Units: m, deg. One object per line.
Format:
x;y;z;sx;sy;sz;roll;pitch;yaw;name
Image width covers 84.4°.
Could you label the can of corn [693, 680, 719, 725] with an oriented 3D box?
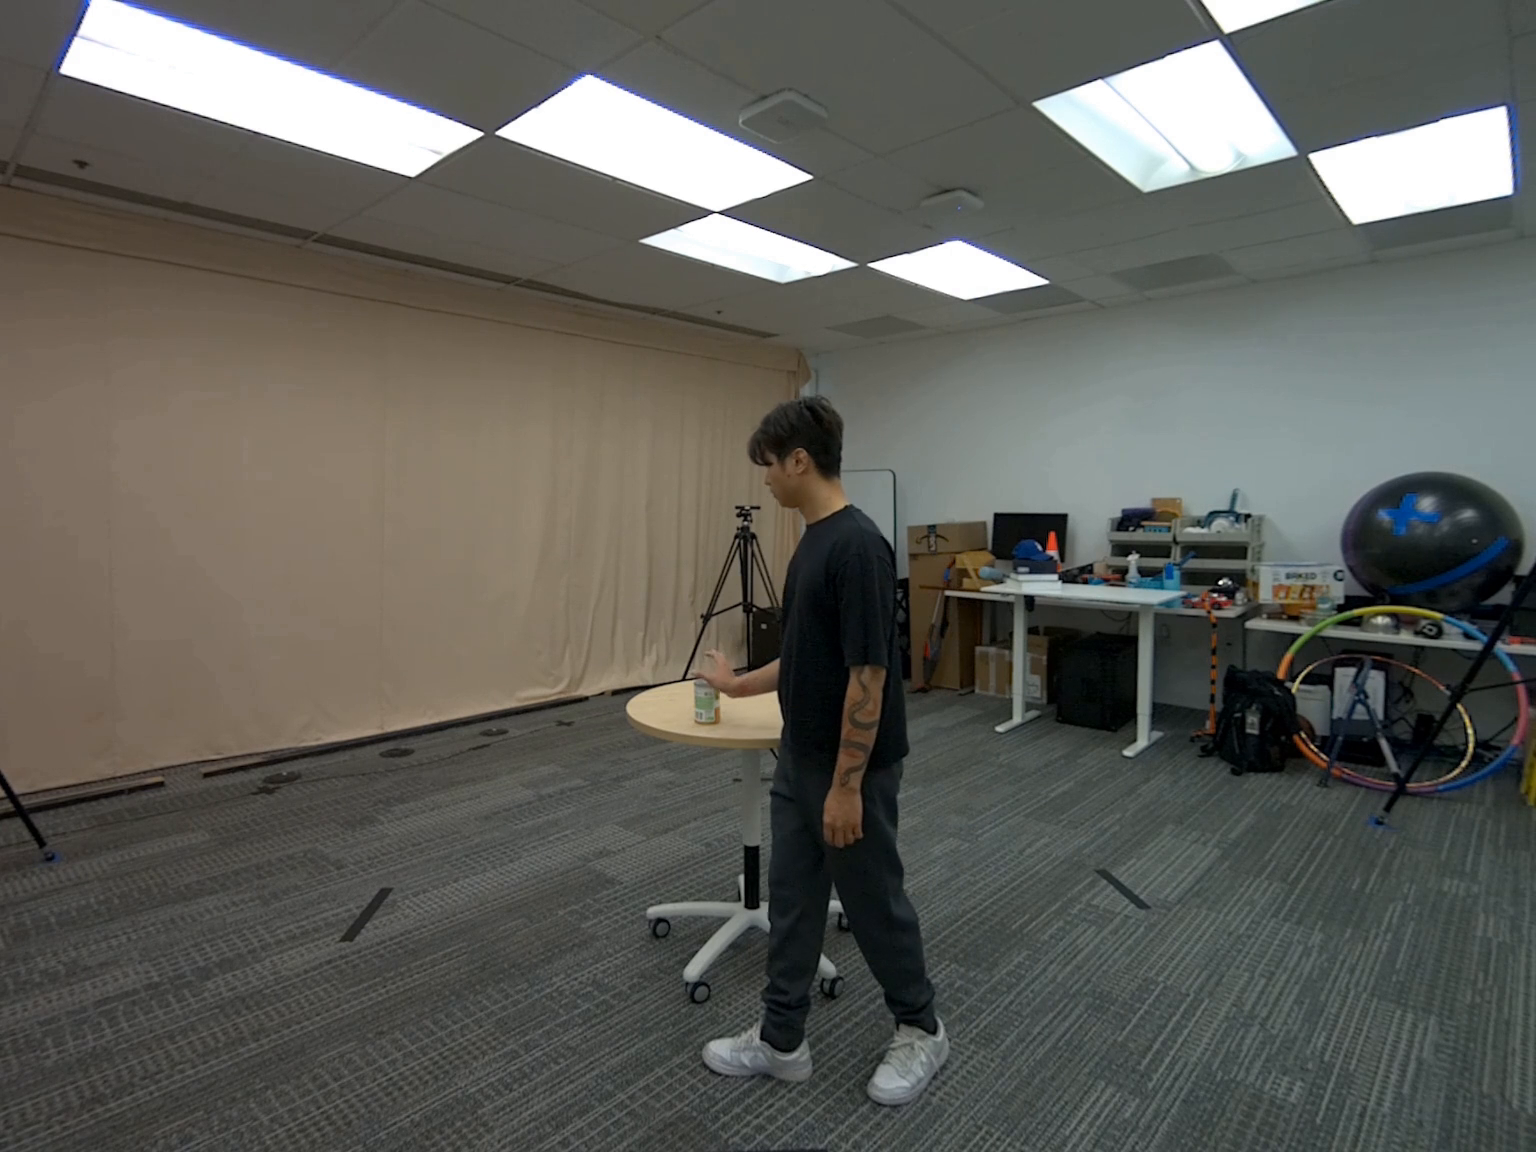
-0.175;0.363;2.383;0.074;0.111;0.074;0;4;-2;can of corn
